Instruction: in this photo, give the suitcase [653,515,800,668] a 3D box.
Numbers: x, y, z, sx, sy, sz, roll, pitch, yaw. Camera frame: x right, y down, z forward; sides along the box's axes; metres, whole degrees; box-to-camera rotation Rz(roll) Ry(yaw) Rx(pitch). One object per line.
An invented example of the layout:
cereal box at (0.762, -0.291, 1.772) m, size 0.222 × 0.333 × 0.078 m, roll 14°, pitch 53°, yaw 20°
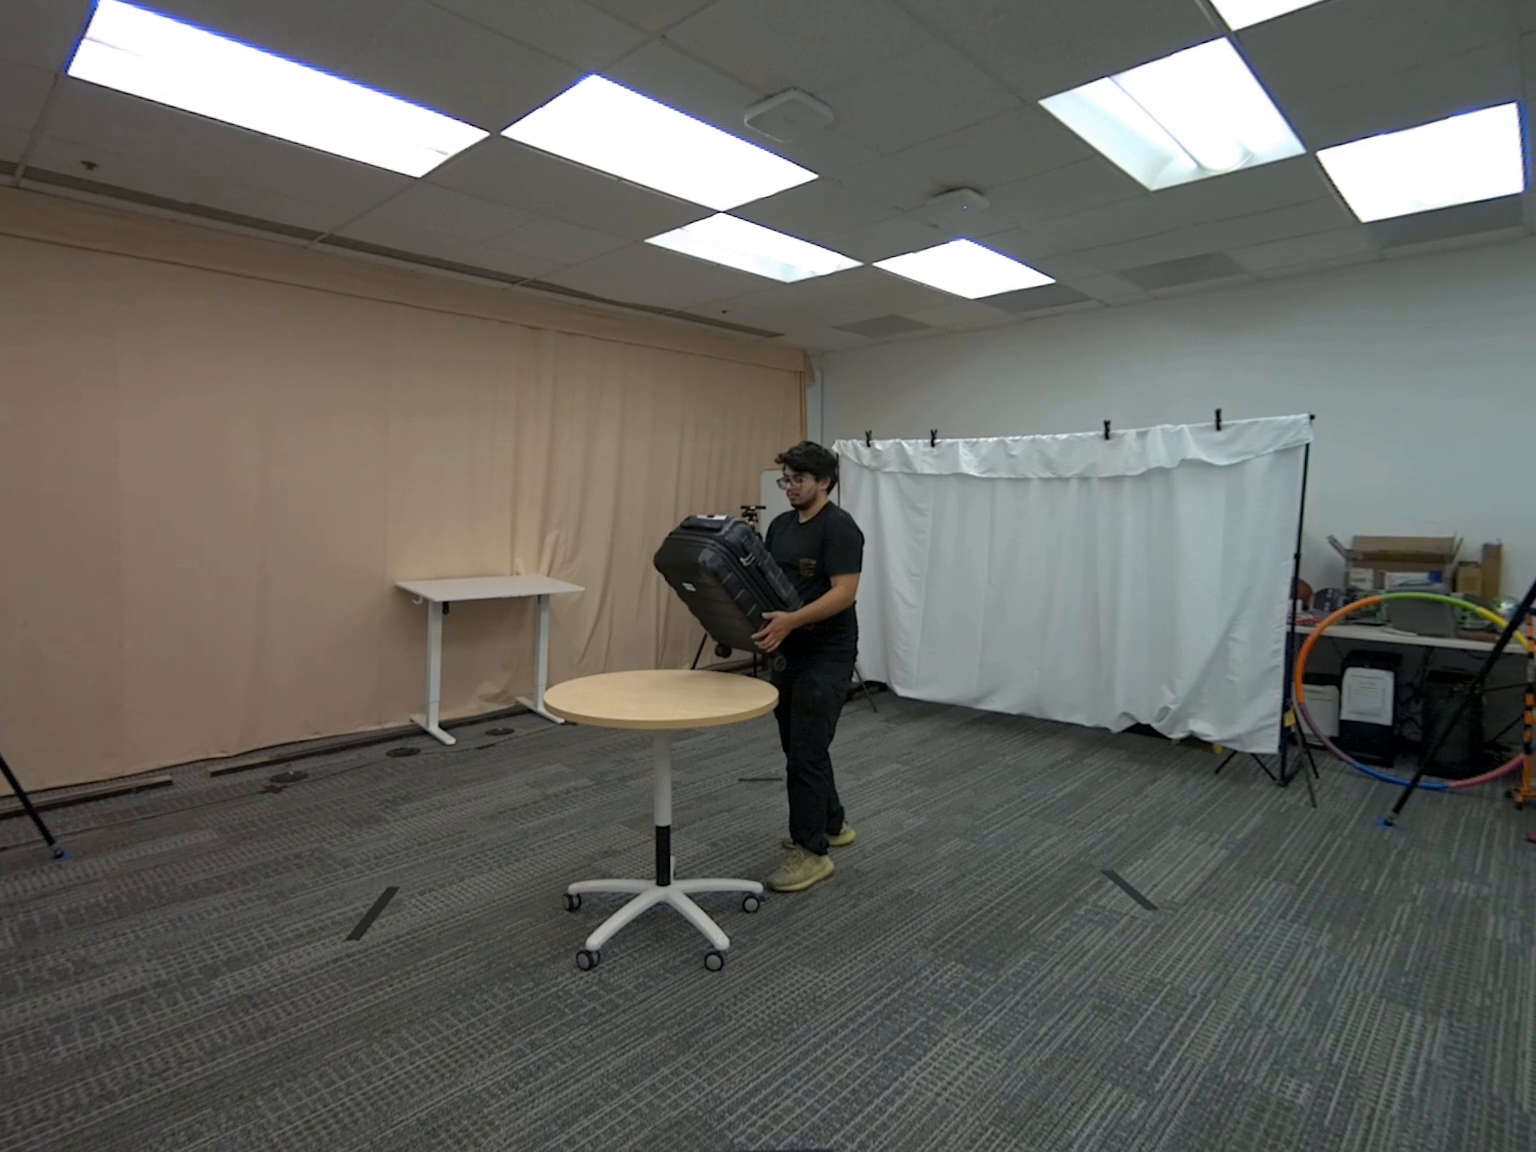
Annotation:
suitcase at (-0.133, 0.040, 3.003) m, size 0.388 × 0.247 × 0.533 m, roll 9°, pitch -36°, yaw 51°
